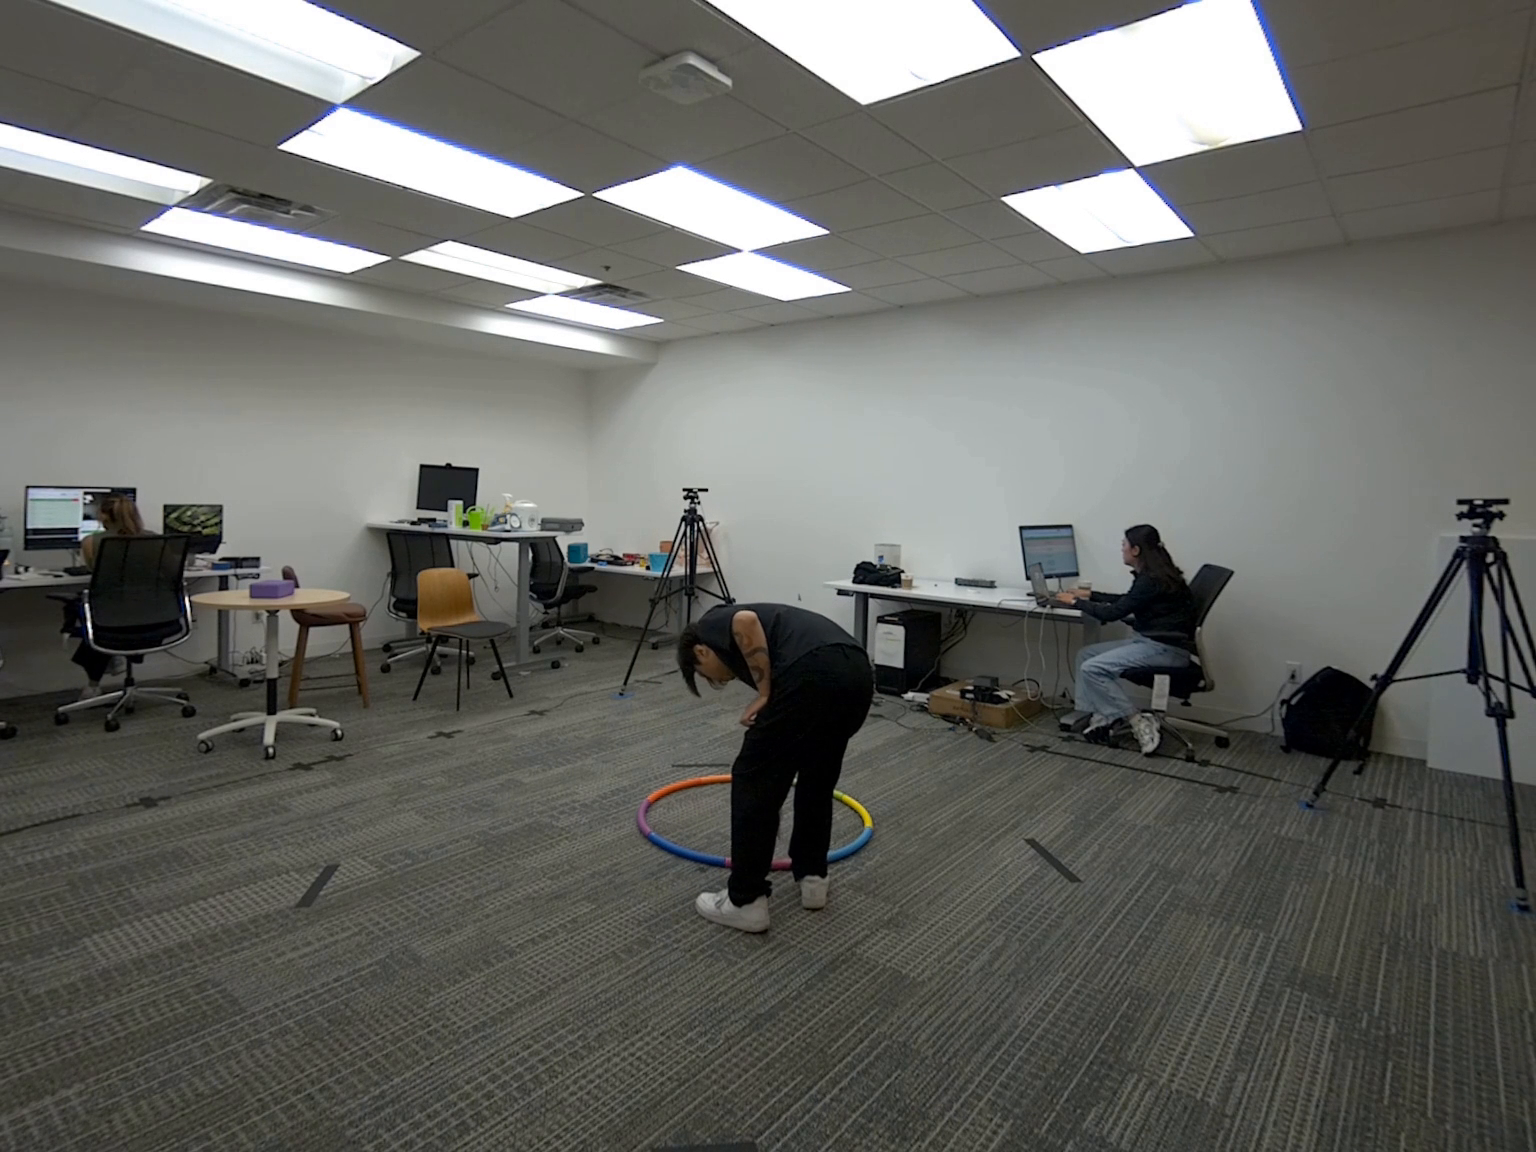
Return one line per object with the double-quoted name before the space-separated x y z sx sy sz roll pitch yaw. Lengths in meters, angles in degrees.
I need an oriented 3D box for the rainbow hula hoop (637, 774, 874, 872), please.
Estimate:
"rainbow hula hoop" -0.070 0.996 3.582 0.978 0.035 0.984 1 6 -2
